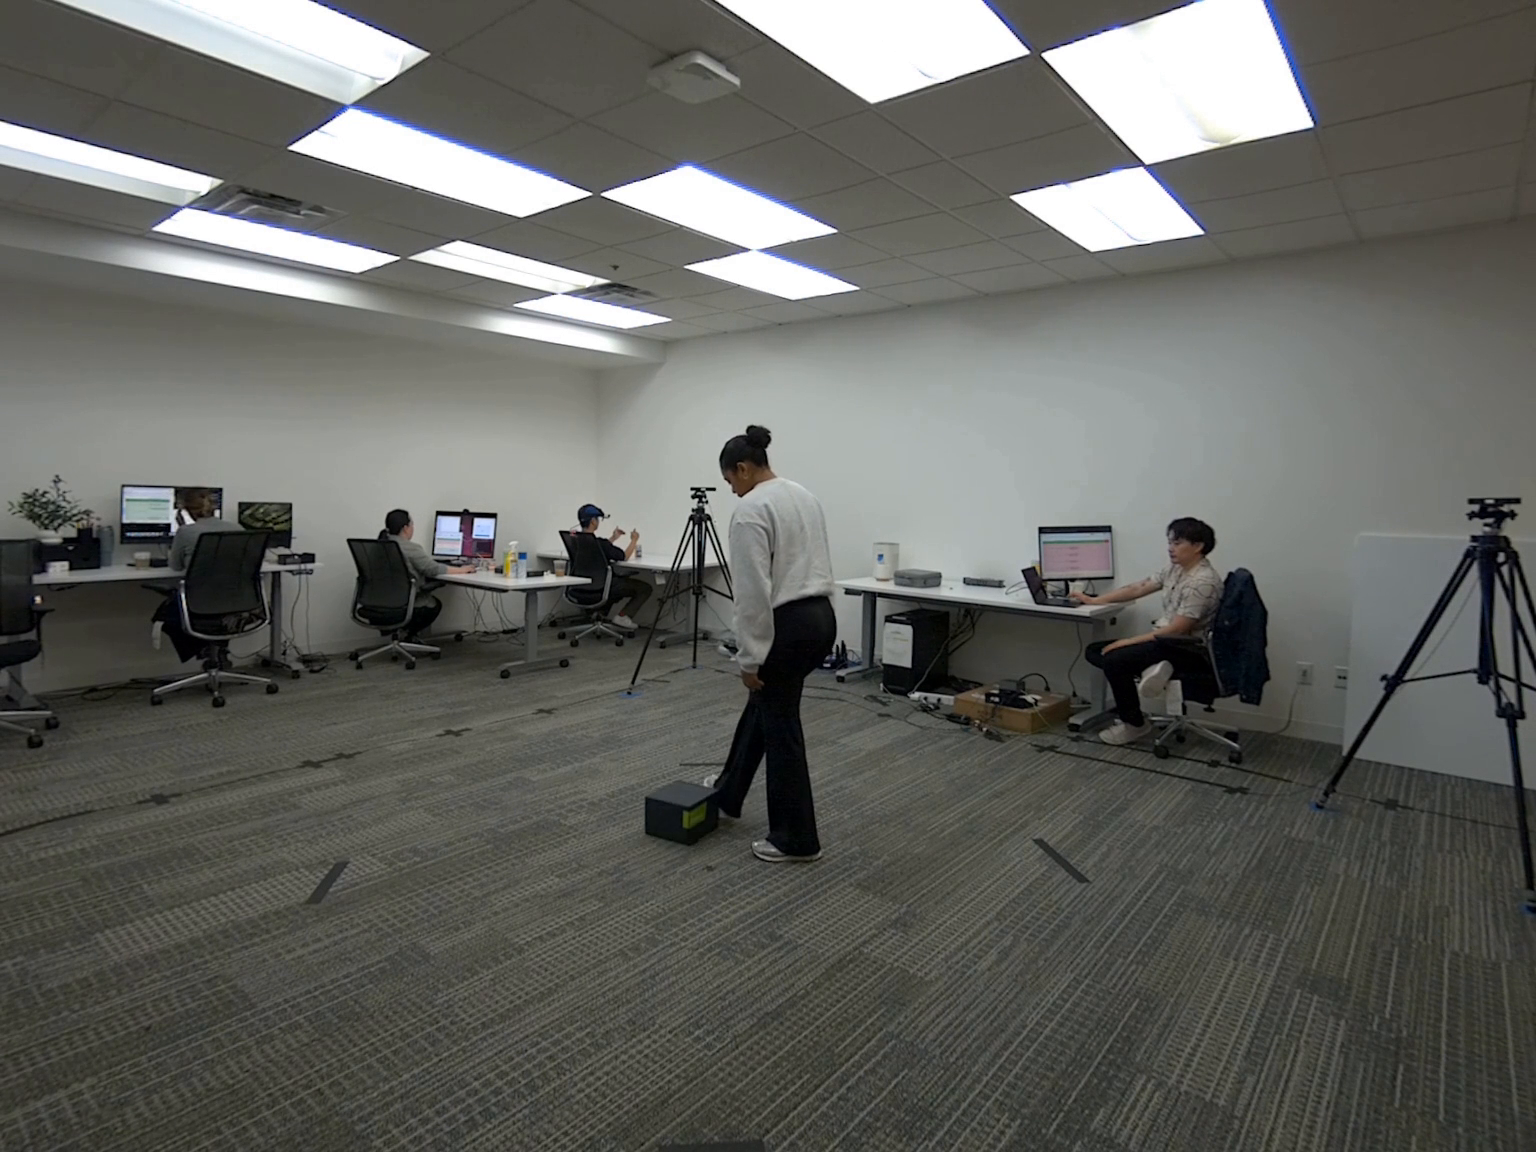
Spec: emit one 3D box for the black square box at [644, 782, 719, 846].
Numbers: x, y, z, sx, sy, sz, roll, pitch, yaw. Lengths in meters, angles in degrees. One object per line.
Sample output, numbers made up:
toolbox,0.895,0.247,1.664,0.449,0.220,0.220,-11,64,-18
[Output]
black square box,-0.347,0.948,3.445,0.223,0.155,0.222,4,6,29
